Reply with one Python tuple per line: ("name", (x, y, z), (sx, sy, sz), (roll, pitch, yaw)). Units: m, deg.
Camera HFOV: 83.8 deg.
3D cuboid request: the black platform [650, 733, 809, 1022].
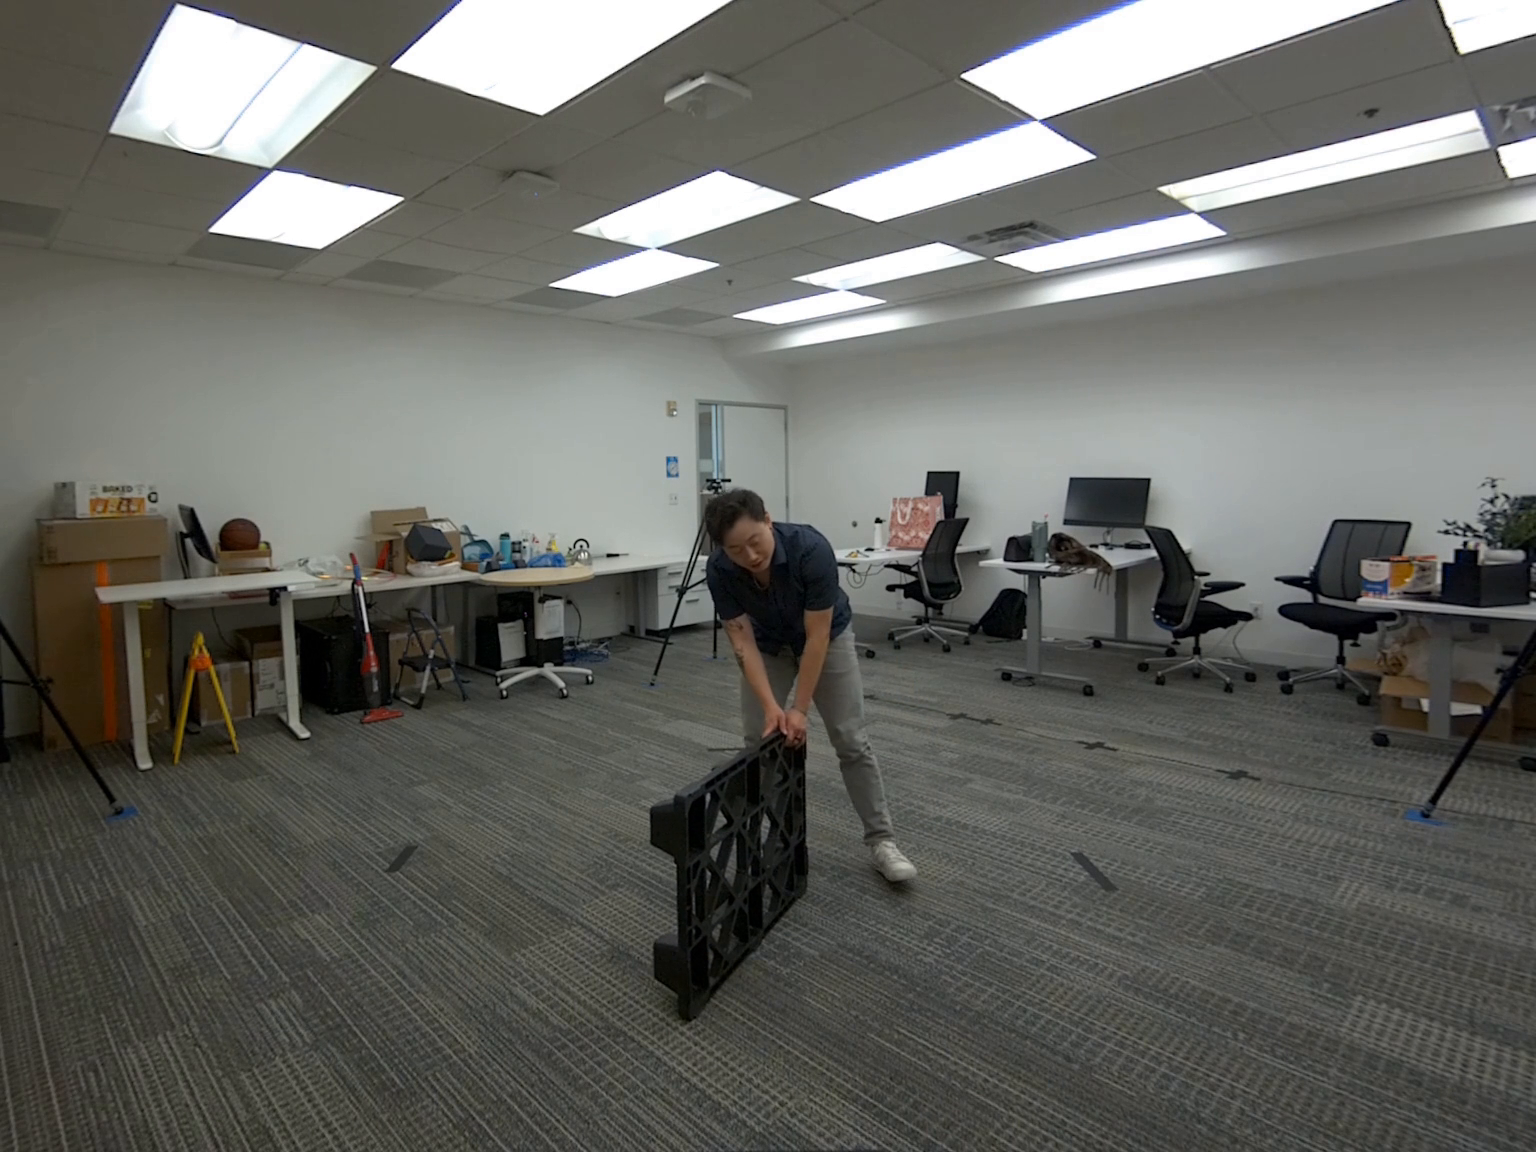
("black platform", (-0.088, 0.808, 2.549), (0.147, 0.602, 0.791), (1, 6, 25))
